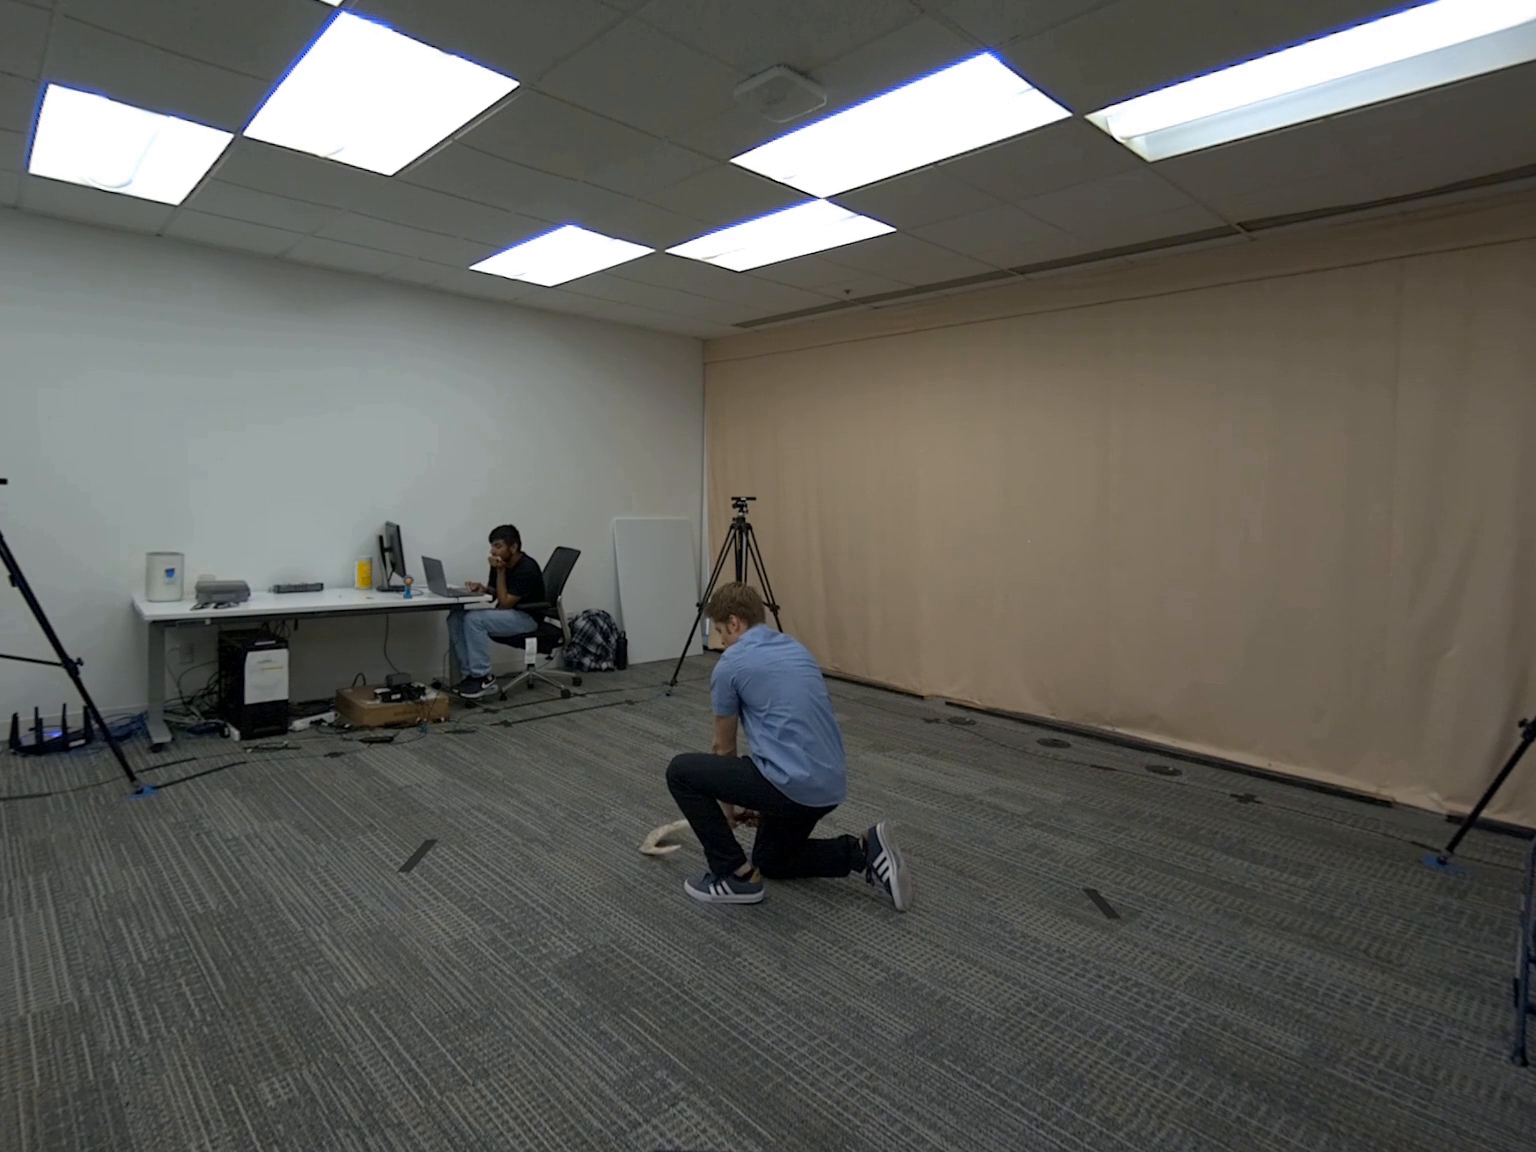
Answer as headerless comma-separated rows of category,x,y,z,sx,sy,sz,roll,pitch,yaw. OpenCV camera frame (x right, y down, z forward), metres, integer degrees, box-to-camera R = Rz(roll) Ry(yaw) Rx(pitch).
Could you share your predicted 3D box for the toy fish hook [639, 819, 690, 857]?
toy fish hook,-0.270,0.999,3.264,0.511,0.048,0.224,-17,11,17
